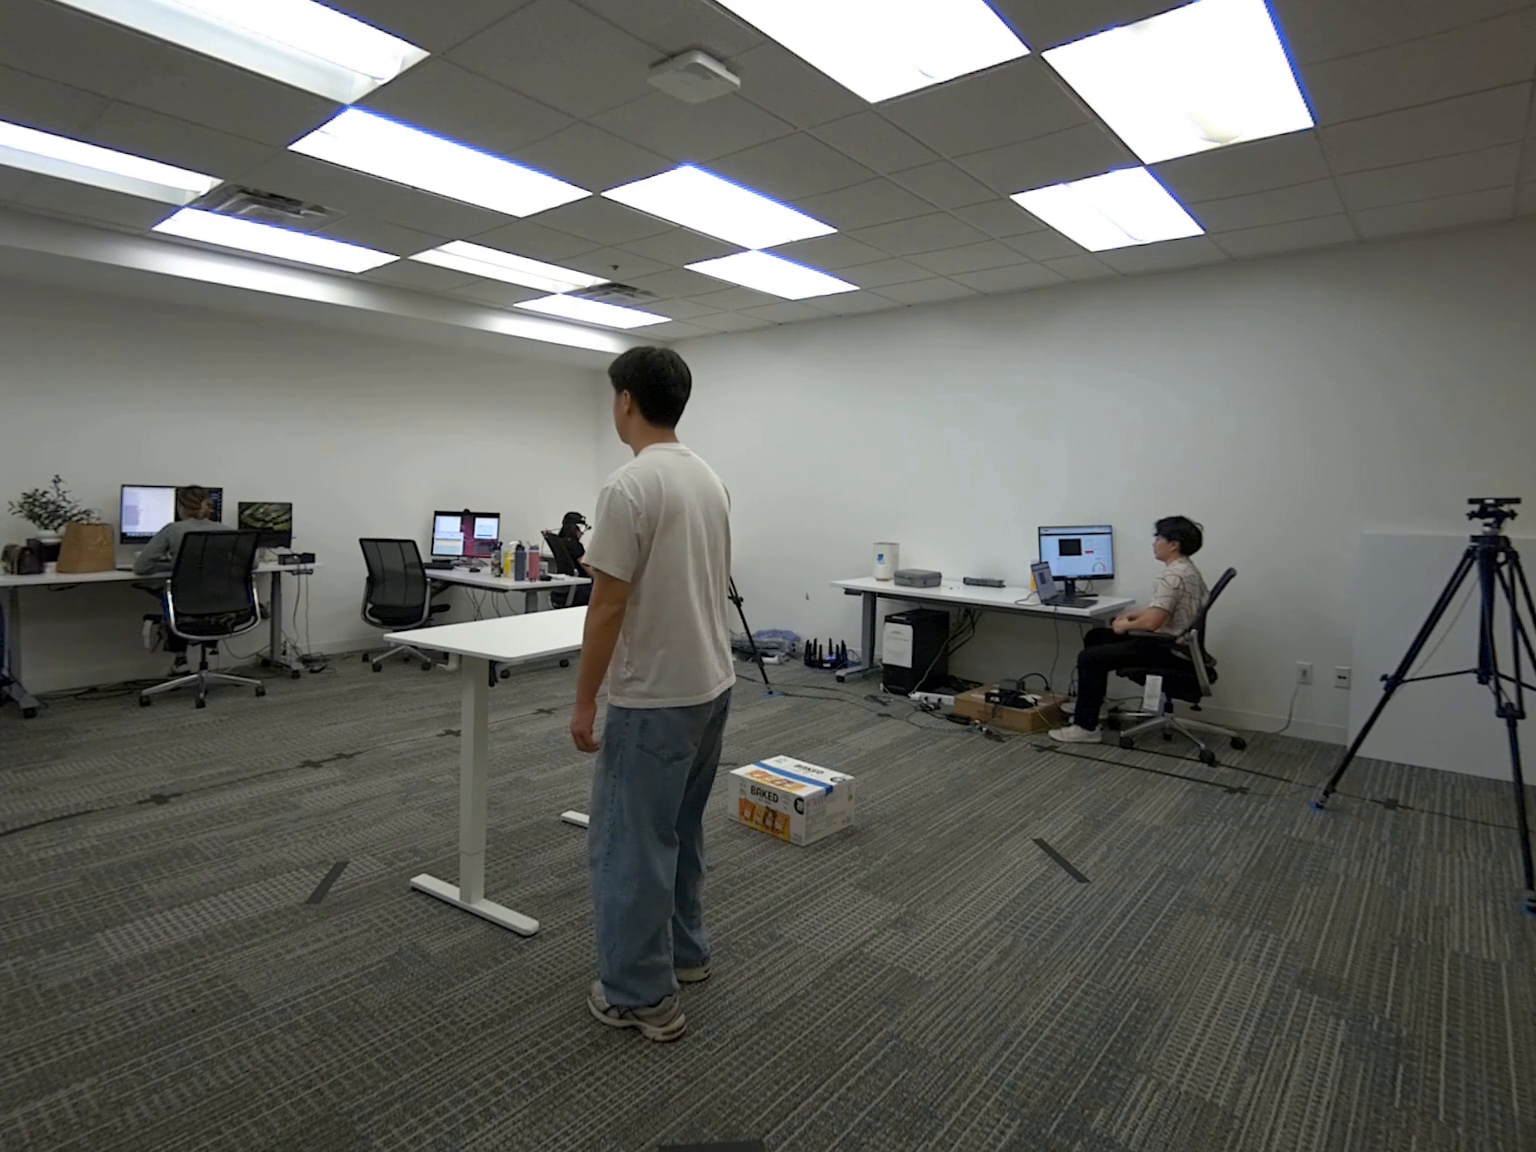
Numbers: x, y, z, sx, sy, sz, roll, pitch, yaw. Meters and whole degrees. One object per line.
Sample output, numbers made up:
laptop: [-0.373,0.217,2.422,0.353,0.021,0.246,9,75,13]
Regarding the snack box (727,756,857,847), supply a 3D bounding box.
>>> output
snack box: [0.087,0.926,3.555,0.419,0.205,0.330,6,7,42]
